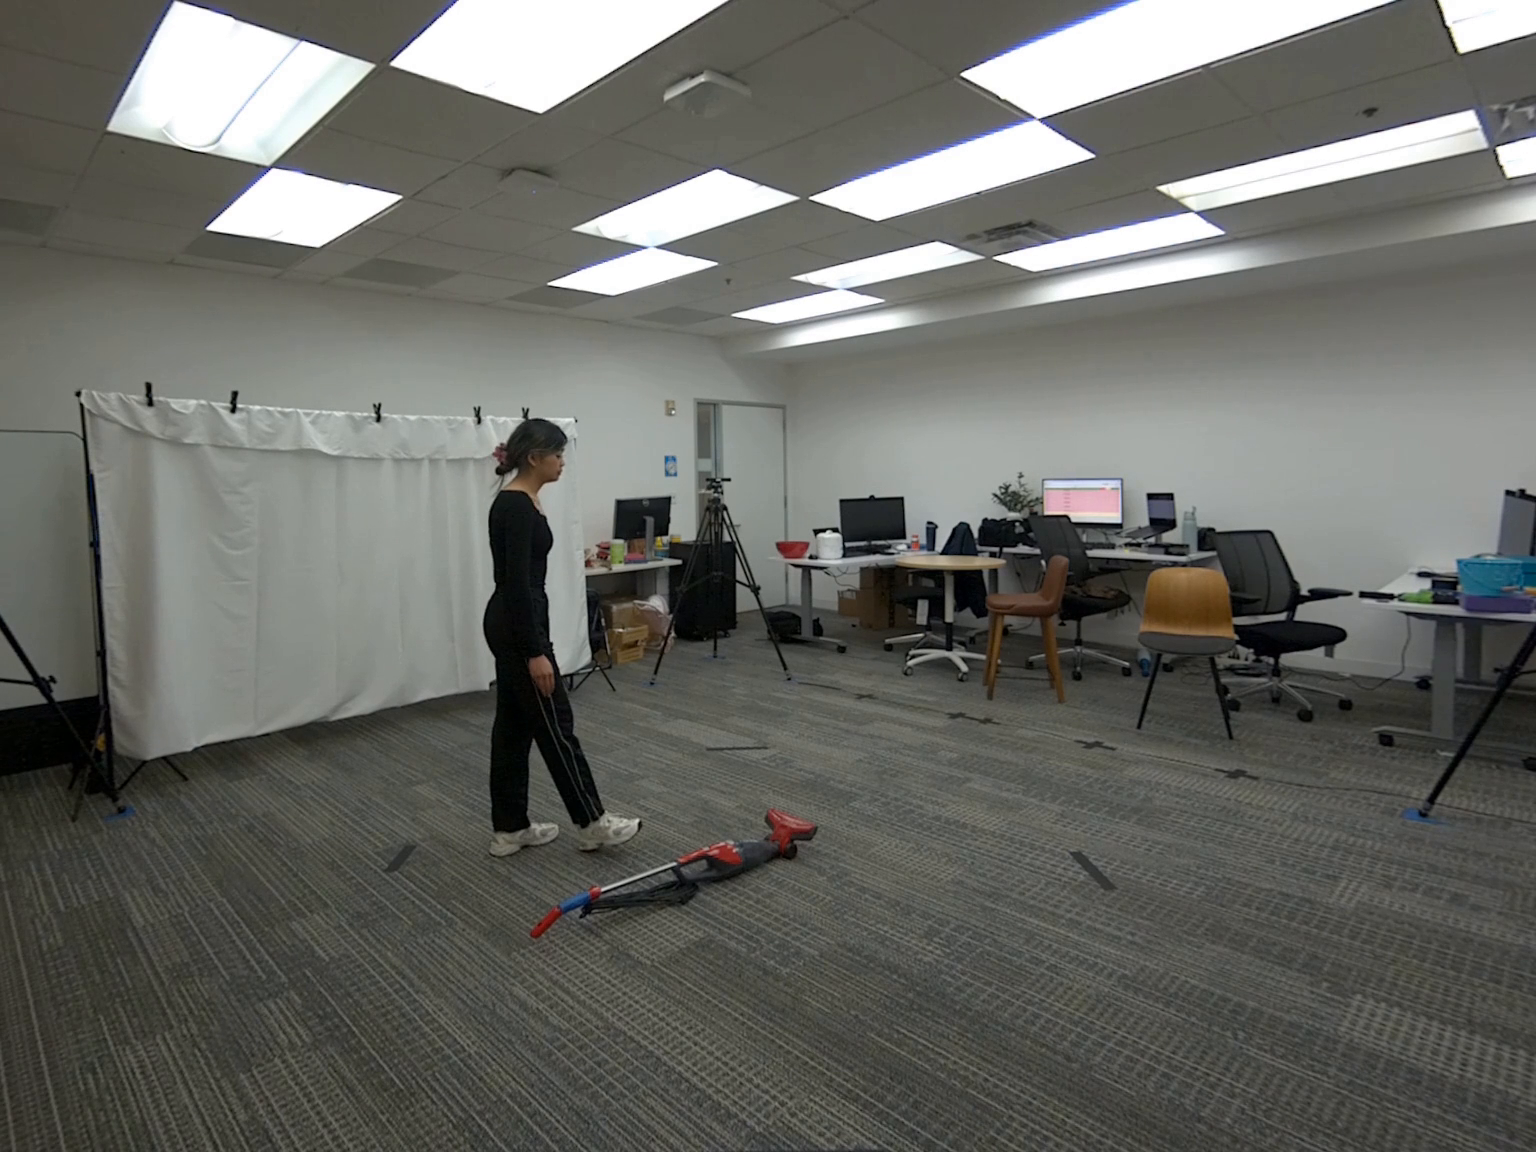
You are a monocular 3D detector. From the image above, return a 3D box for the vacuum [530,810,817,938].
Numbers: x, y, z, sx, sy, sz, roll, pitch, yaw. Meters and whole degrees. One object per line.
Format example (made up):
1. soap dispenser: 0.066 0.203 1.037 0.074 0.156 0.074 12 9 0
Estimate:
1. vacuum: -0.306 1.017 2.862 1.023 0.143 0.260 -7 7 -40
